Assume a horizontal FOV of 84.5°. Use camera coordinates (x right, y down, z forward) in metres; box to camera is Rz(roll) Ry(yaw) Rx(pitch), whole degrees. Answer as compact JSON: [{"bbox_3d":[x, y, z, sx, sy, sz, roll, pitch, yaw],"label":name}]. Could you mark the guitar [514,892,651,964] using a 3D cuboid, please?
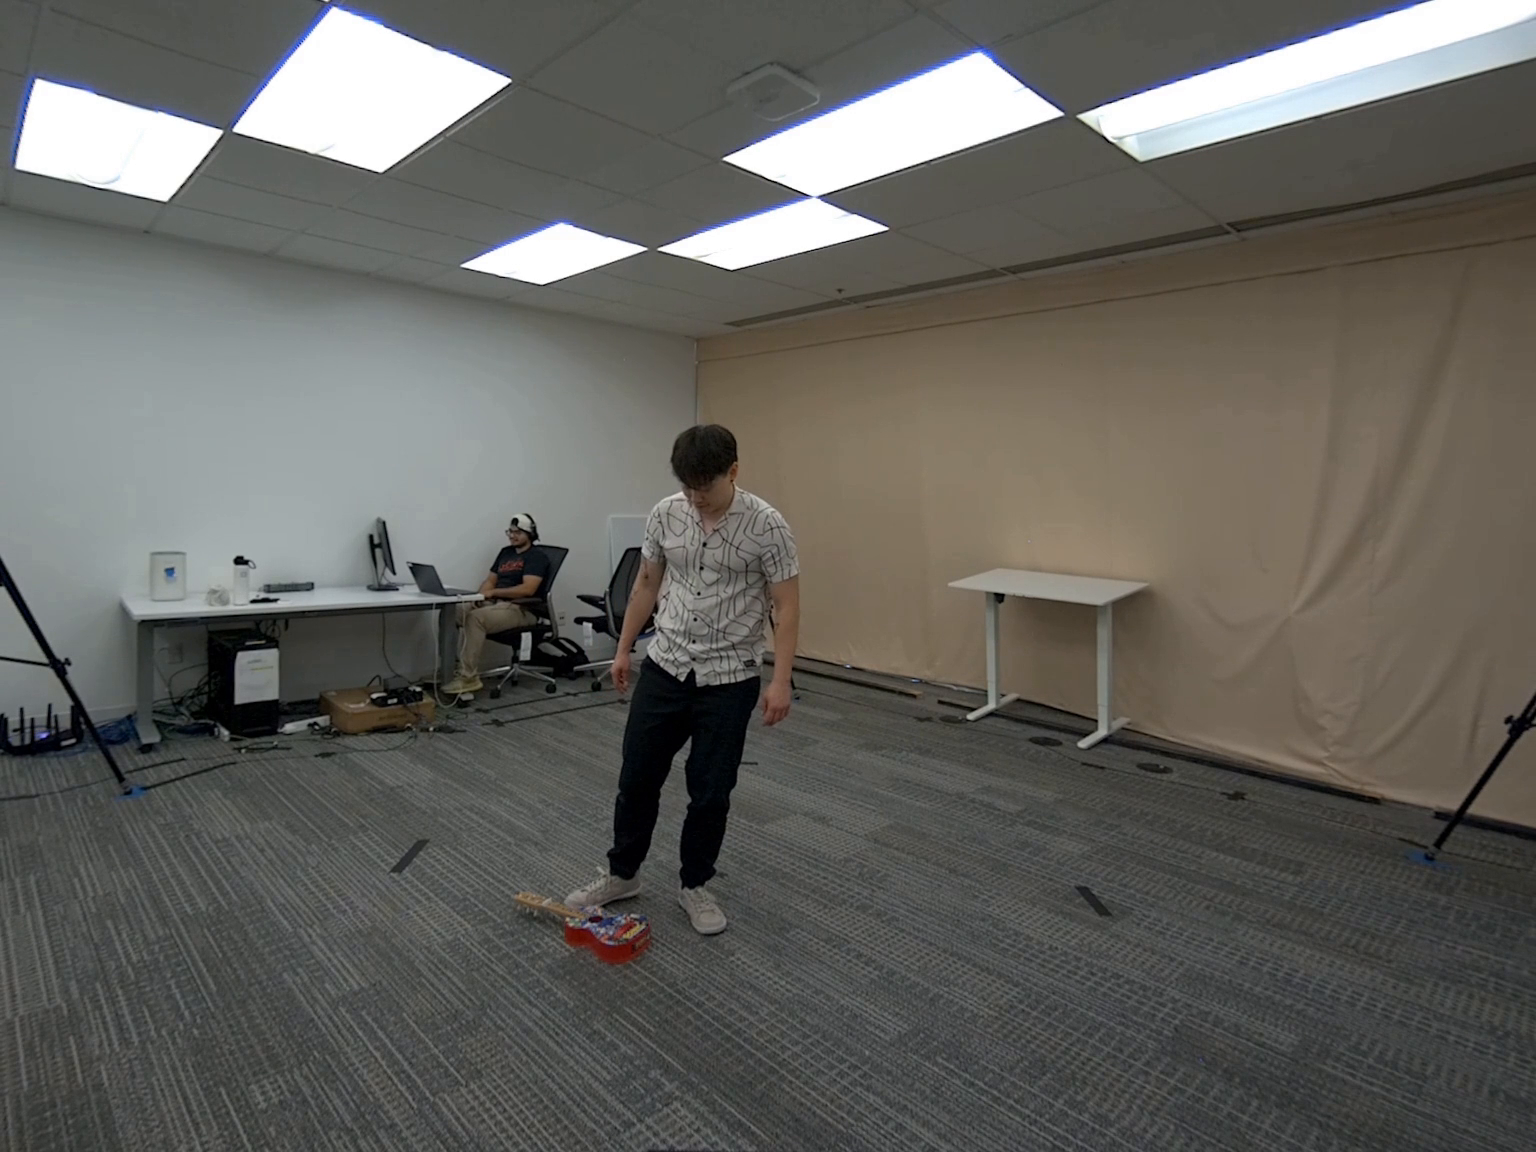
[{"bbox_3d":[-0.605,1.096,2.698,0.510,0.070,0.189,6,7,36],"label":"guitar"}]
